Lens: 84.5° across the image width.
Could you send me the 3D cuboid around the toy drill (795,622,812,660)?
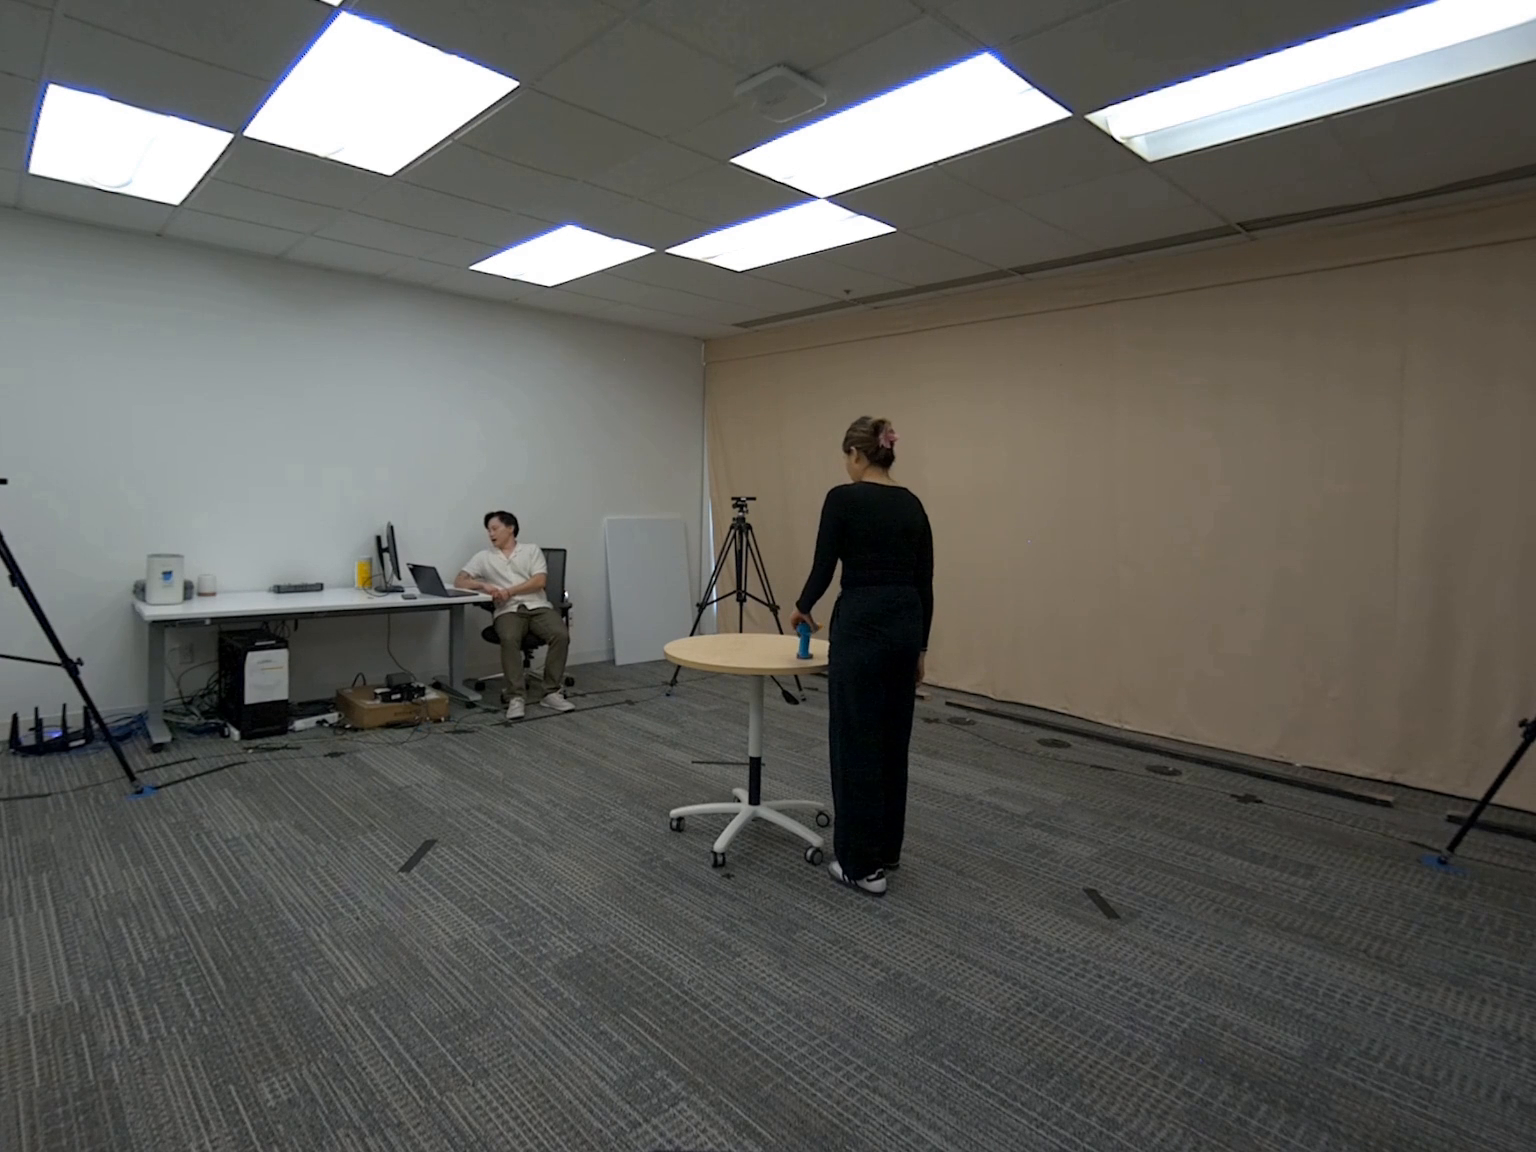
[{"bbox_3d":[0.155,0.240,3.295,0.062,0.145,0.166,5,6,31],"label":"toy drill"}]
